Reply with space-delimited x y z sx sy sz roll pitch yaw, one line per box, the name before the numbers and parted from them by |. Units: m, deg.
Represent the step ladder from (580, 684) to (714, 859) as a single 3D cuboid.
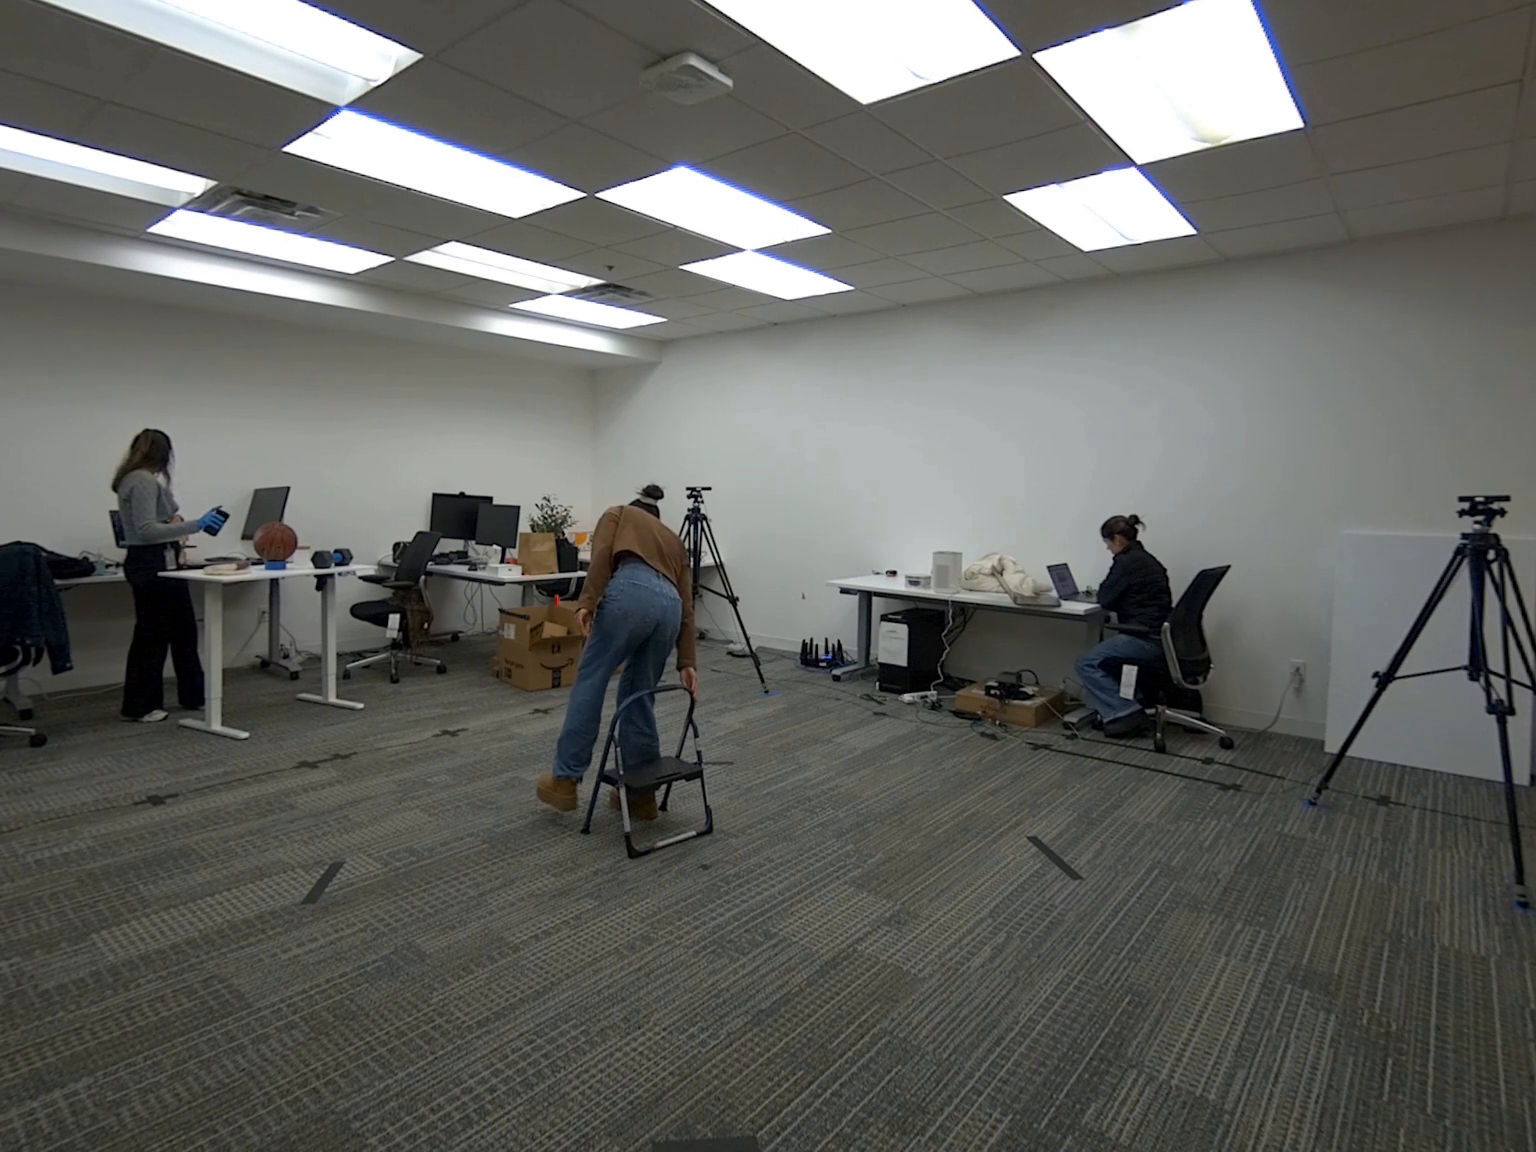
step ladder | -0.488 0.728 3.412 0.417 0.604 0.361 -2 5 -44
